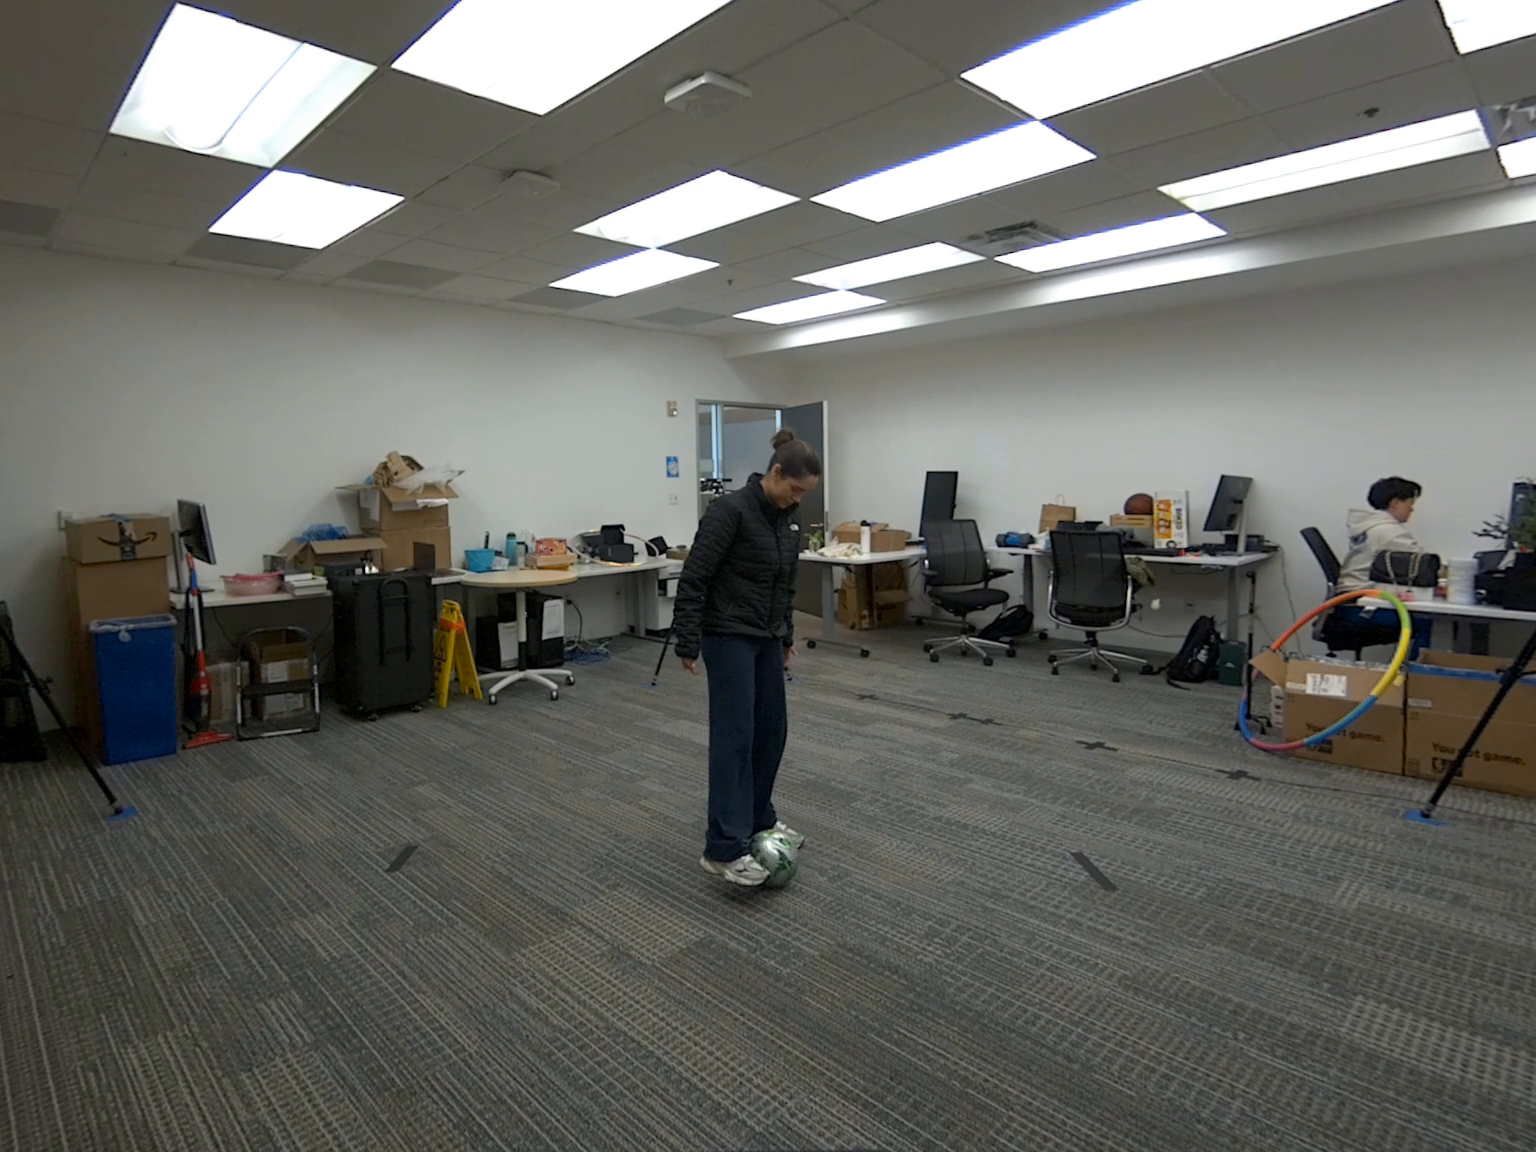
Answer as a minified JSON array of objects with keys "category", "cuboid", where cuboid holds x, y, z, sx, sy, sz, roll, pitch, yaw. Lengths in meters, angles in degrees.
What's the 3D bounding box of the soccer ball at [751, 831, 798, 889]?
[{"category":"soccer ball","cuboid":[0.009,0.966,2.933,0.187,0.187,0.188,-1,5,-2]}]
